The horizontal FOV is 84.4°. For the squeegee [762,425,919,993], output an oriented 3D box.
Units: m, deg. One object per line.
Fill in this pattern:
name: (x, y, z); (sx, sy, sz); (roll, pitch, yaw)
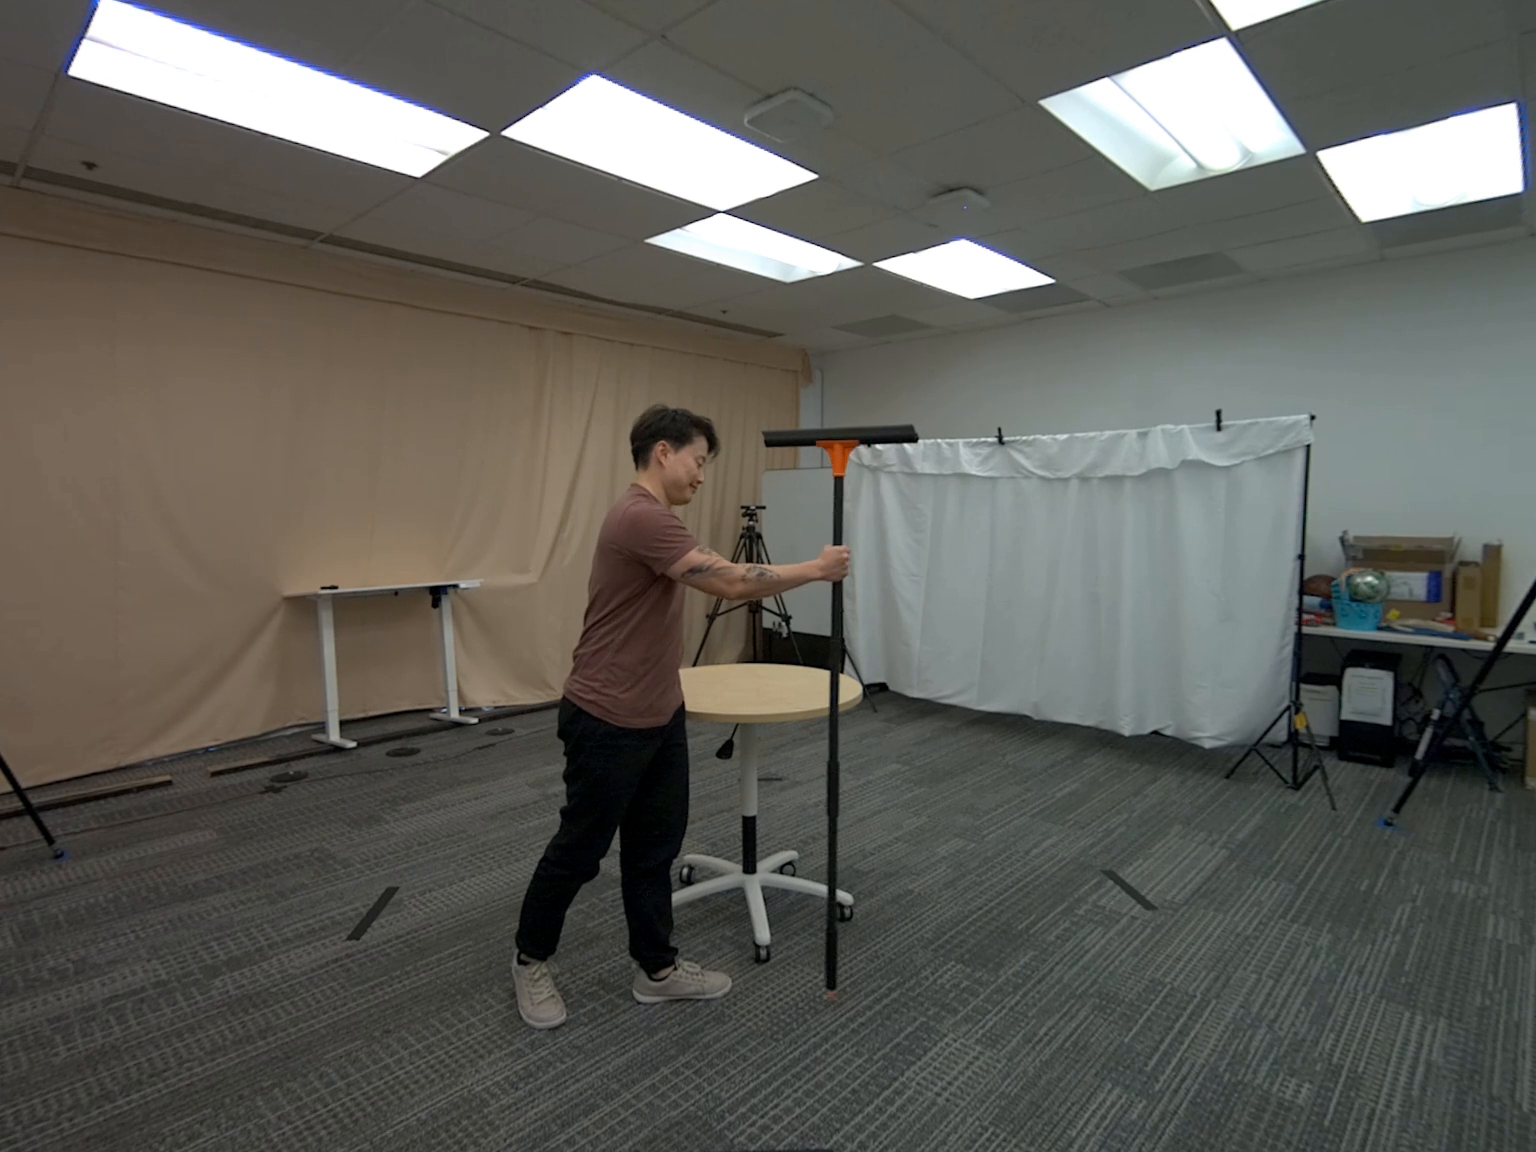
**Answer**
squeegee: (0.183, 0.390, 2.253); (0.451, 1.533, 0.051); (4, 5, 35)
